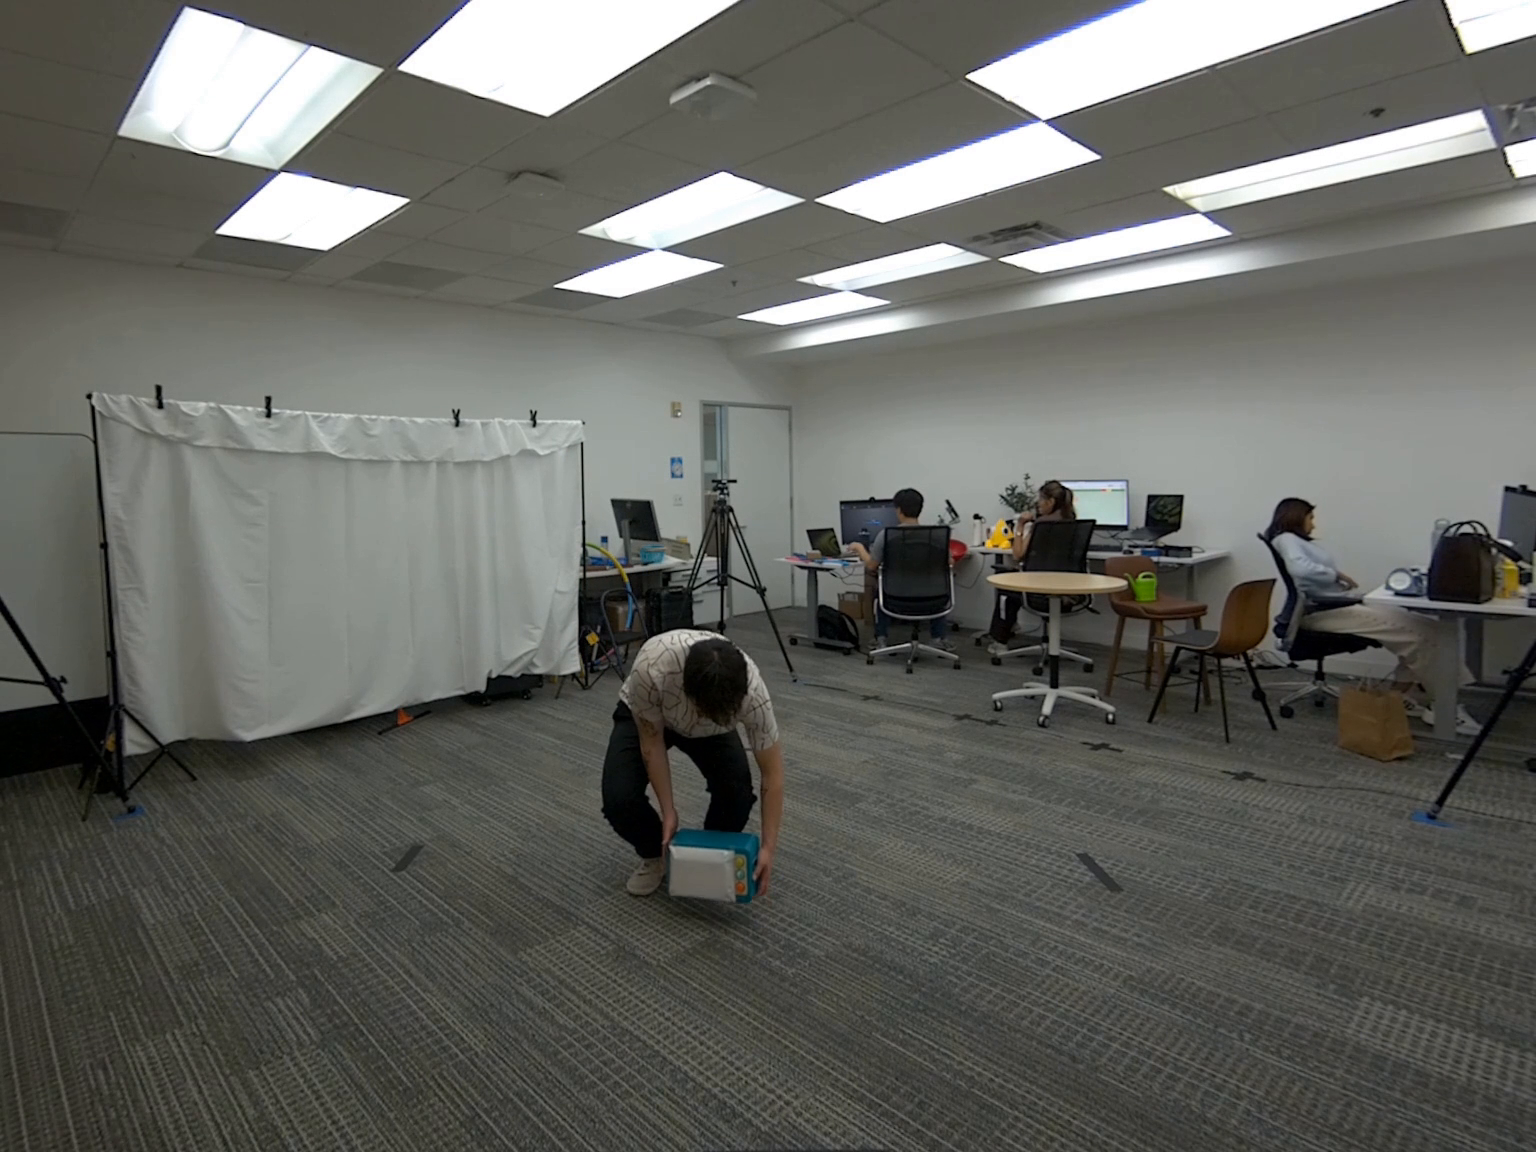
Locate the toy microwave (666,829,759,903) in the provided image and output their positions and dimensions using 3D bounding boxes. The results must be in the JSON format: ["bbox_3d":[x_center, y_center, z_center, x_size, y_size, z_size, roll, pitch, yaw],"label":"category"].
[{"bbox_3d":[-0.175,0.919,2.723,0.290,0.184,0.150,-1,3,15],"label":"toy microwave"}]
